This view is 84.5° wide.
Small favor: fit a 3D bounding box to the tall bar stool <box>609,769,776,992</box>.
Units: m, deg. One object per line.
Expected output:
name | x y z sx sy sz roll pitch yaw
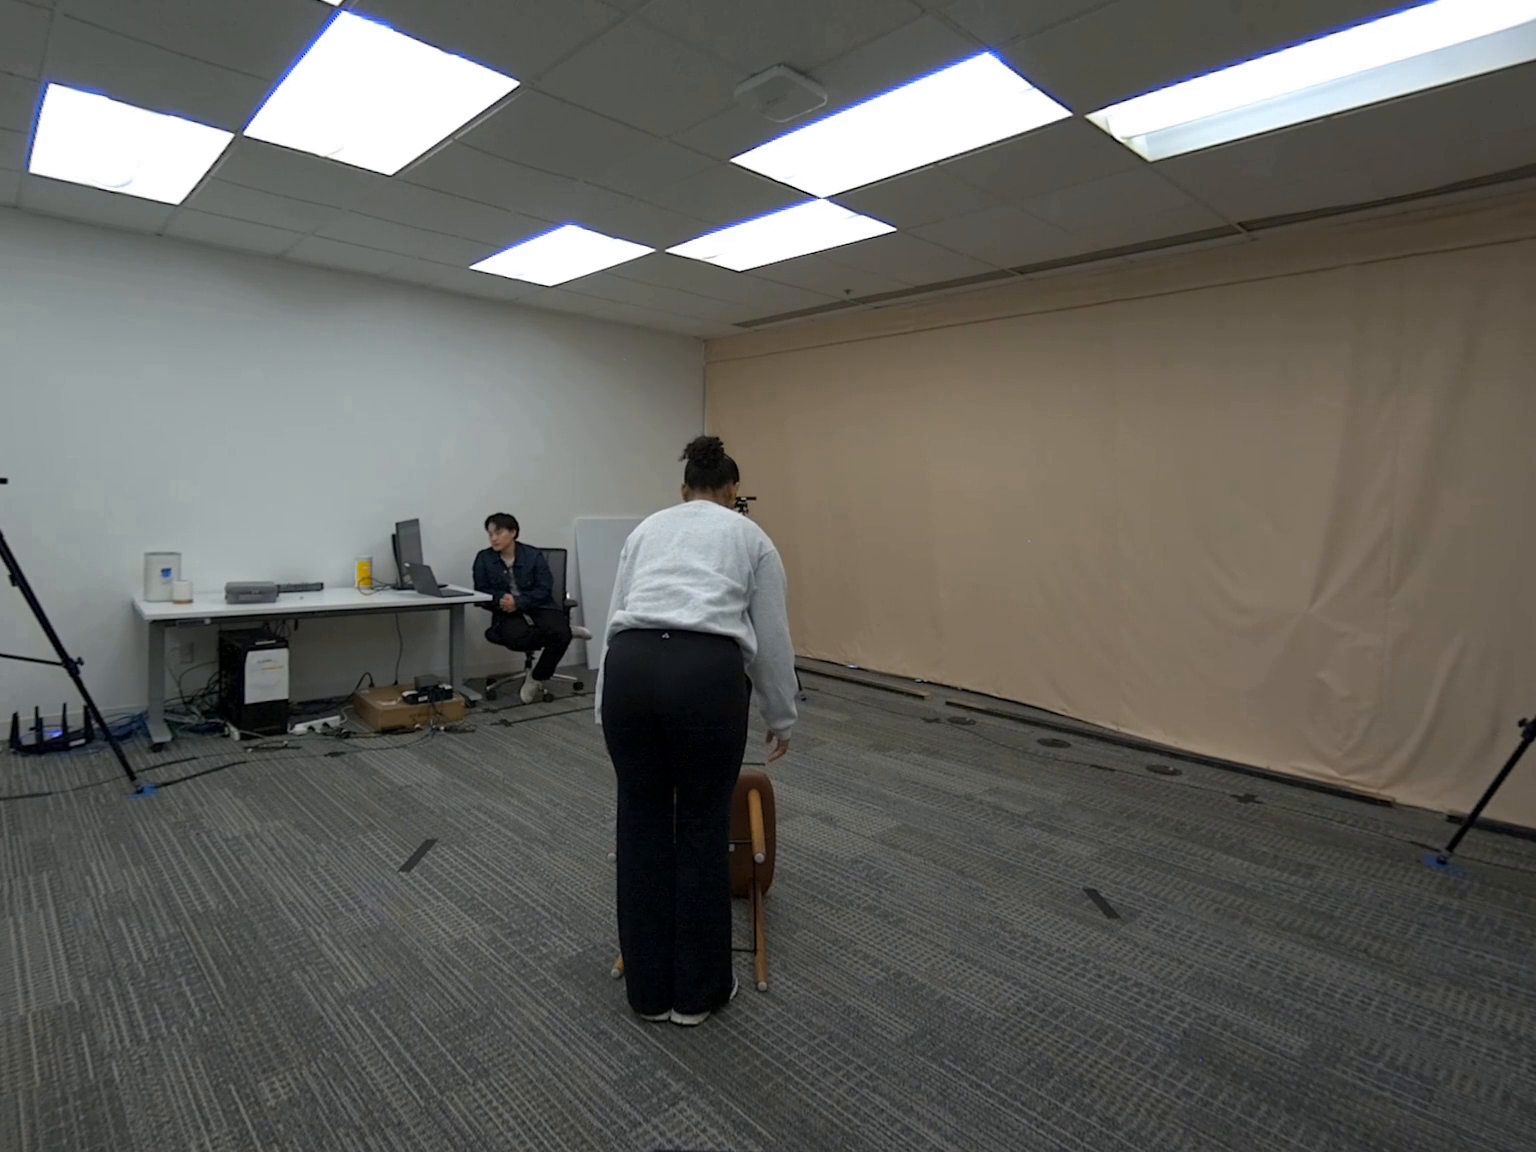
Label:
tall bar stool | -0.209 0.924 2.811 0.469 0.454 0.891 -1 7 3
